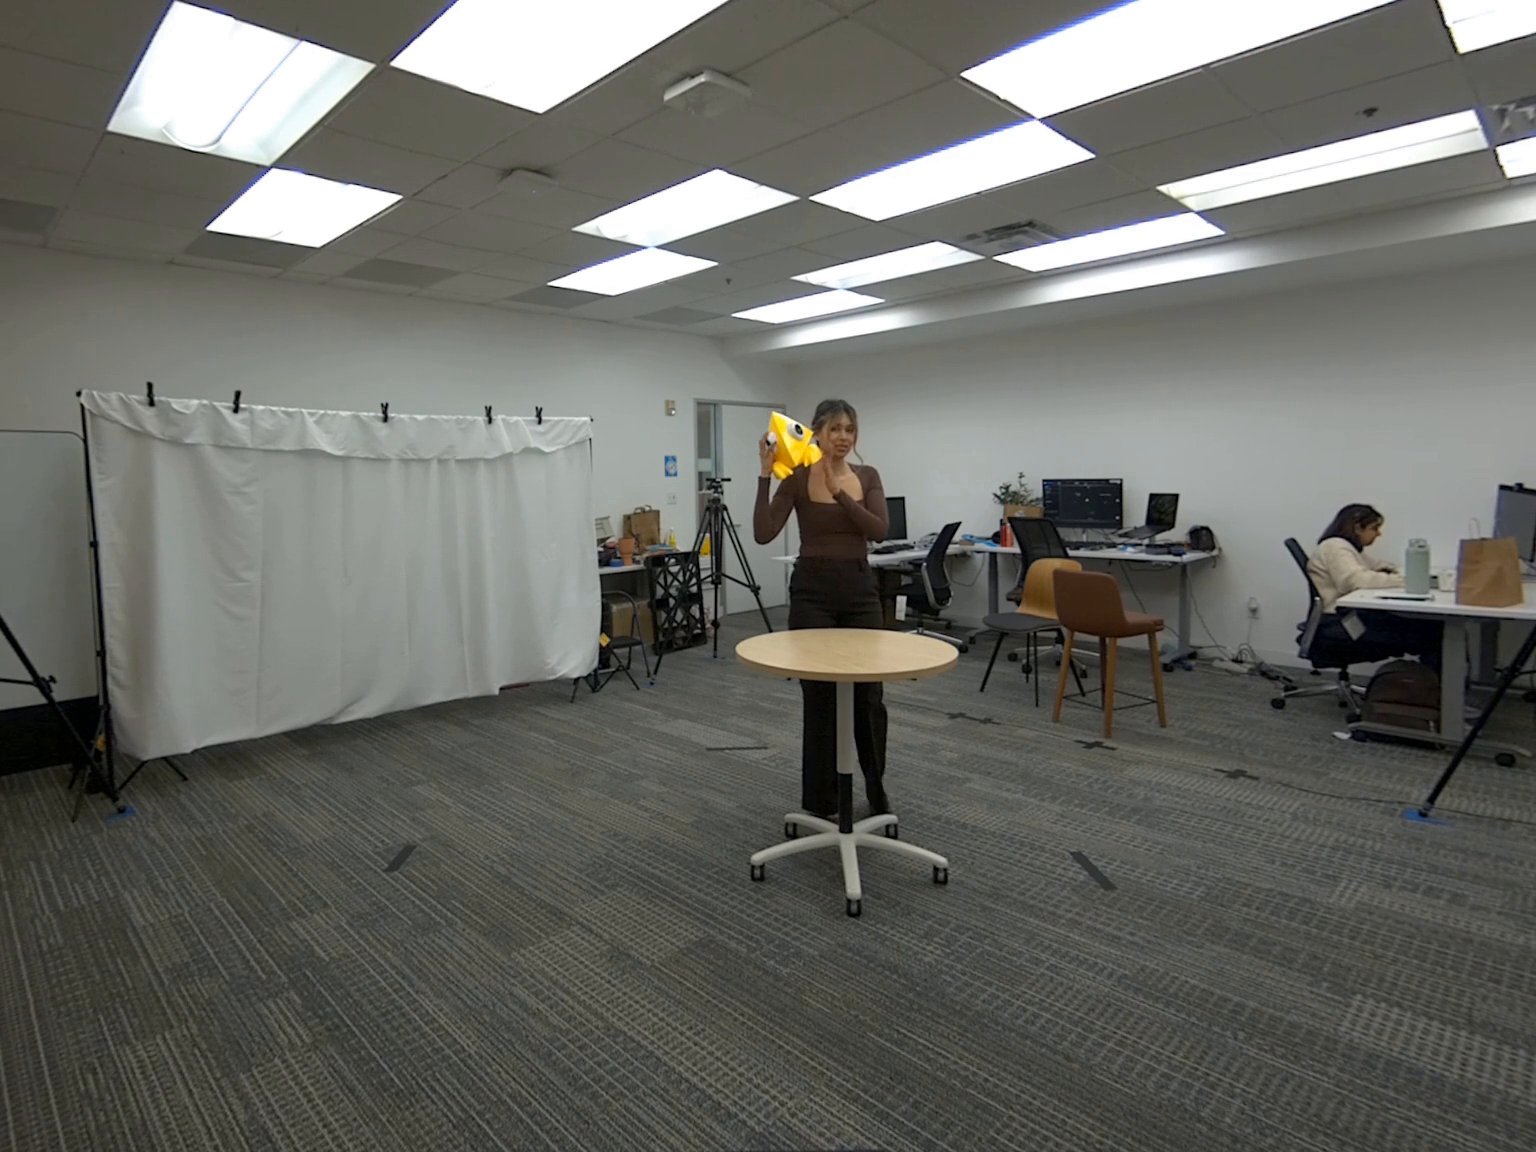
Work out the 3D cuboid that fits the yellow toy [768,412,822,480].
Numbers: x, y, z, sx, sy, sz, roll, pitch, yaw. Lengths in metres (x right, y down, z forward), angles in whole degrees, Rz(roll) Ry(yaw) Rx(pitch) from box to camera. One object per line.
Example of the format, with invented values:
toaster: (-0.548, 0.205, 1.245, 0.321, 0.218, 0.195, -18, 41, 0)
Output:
yellow toy: (0.076, -0.528, 3.319, 0.206, 0.227, 0.195, -27, 13, 13)
